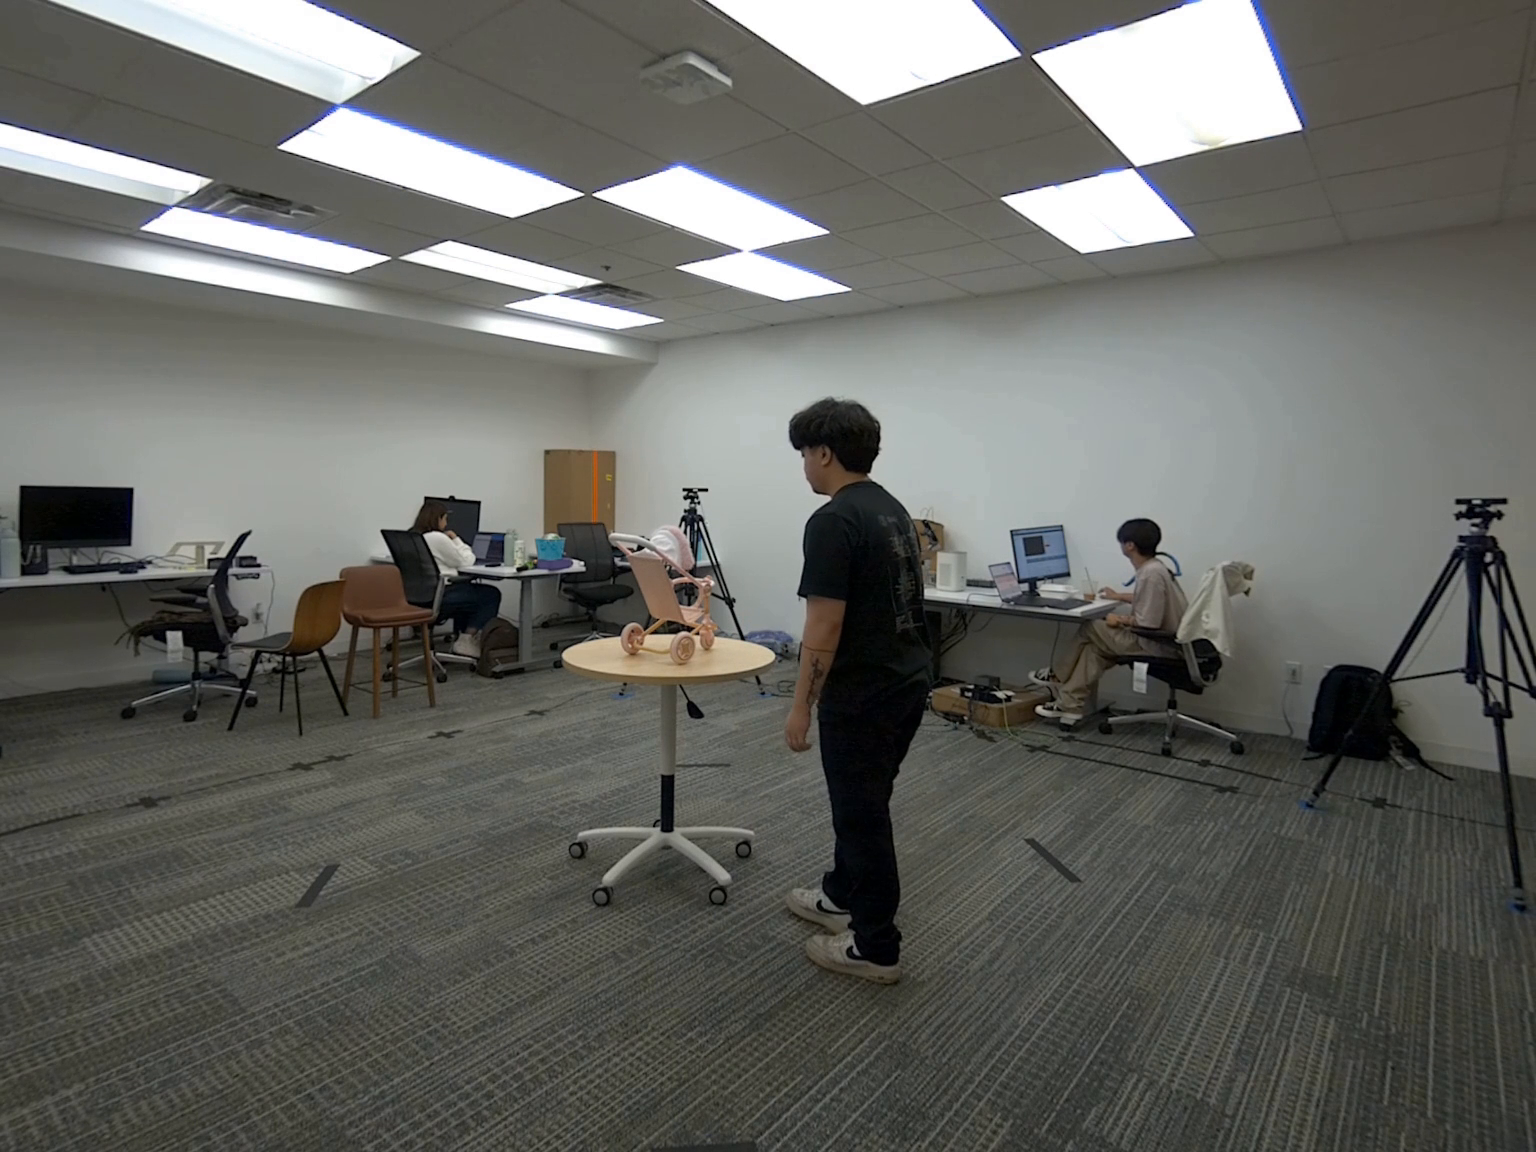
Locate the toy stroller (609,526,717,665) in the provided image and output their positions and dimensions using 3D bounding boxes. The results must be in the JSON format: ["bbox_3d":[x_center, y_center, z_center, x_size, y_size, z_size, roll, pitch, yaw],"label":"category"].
[{"bbox_3d":[-0.356,0.060,3.003,0.291,0.527,0.335,5,20,44],"label":"toy stroller"}]
